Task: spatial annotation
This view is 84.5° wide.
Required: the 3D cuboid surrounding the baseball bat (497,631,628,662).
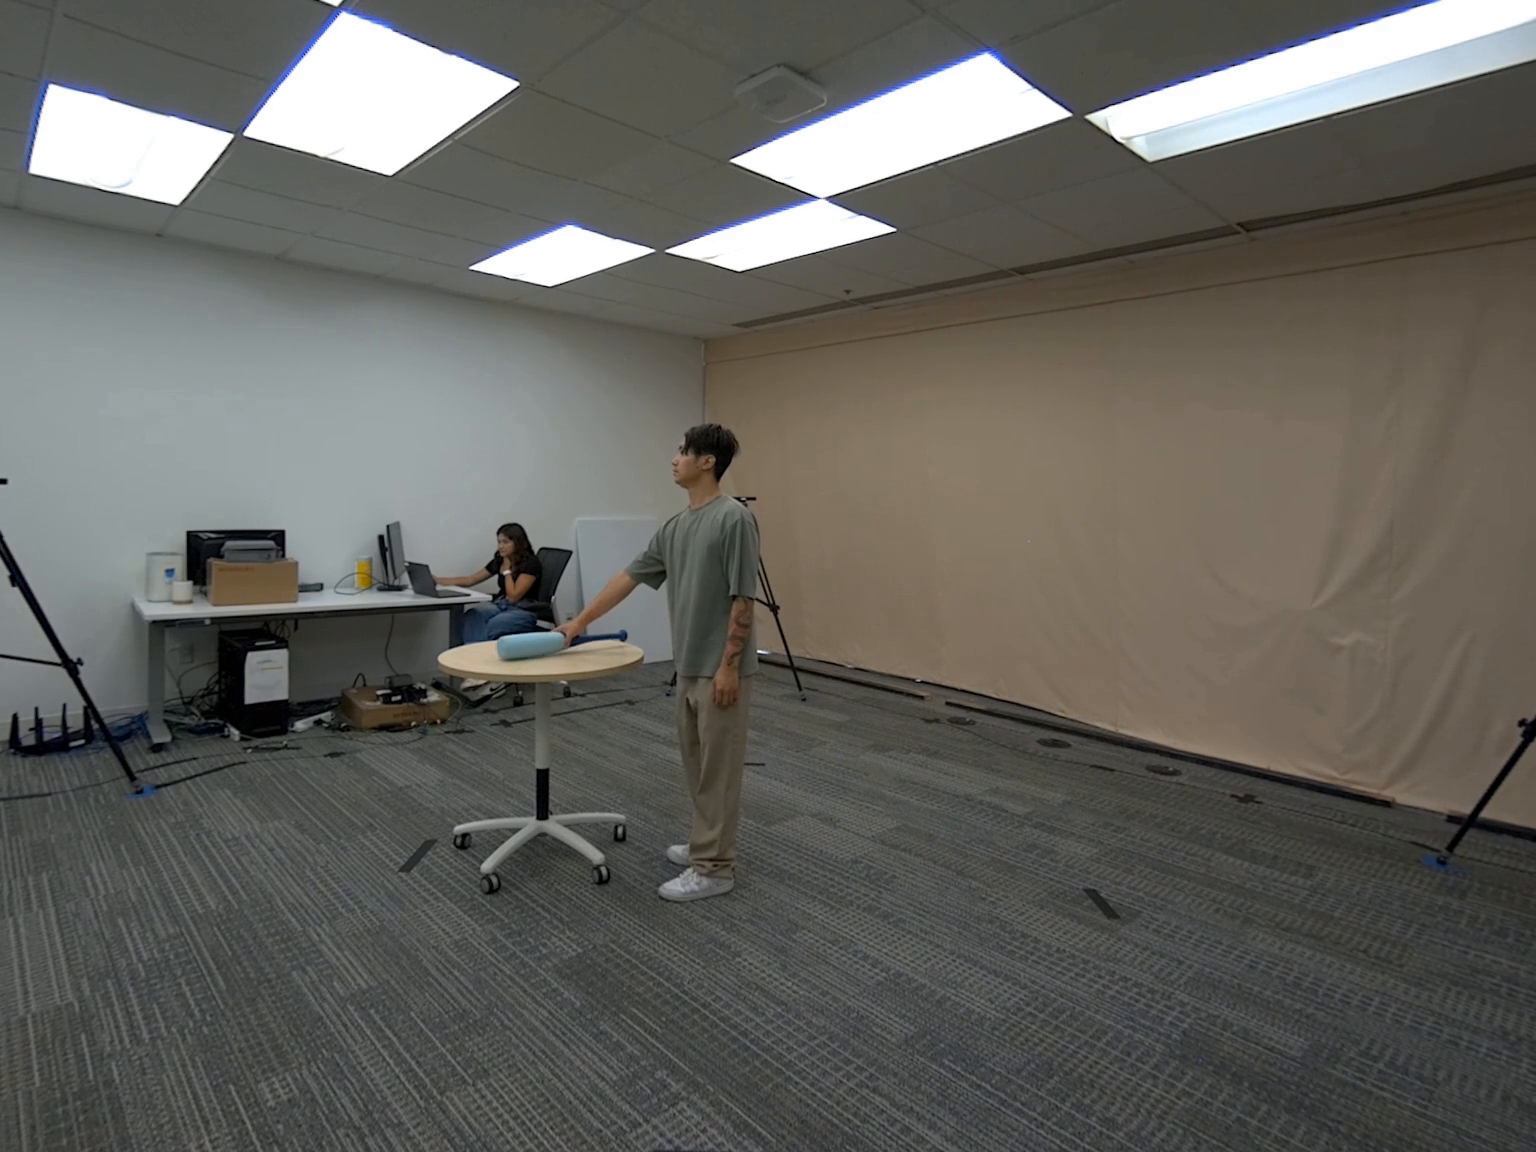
[{"bbox_3d":[-0.778,0.243,3.228,0.531,0.089,0.091,-2,6,-40],"label":"baseball bat"}]
